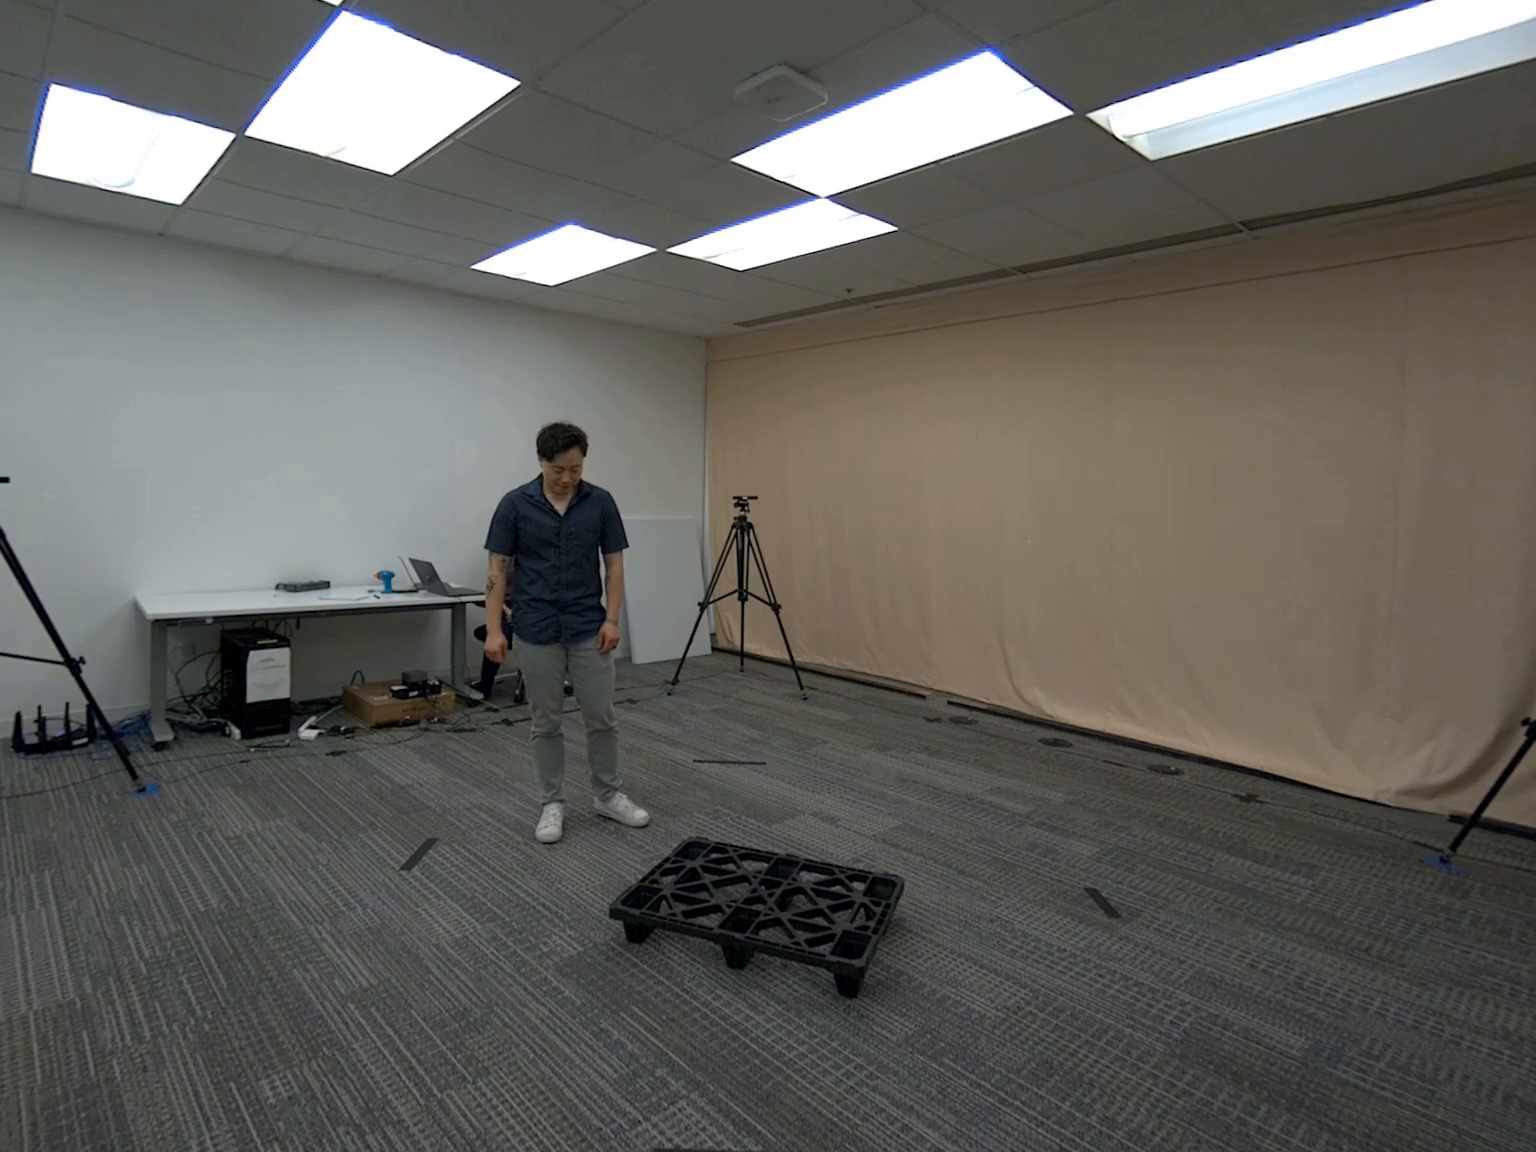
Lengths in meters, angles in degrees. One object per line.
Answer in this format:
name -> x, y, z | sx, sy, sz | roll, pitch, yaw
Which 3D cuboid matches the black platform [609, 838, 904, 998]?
black platform -> -0.021, 1.075, 2.693 | 0.819, 0.143, 0.597 | 3, 6, 21
